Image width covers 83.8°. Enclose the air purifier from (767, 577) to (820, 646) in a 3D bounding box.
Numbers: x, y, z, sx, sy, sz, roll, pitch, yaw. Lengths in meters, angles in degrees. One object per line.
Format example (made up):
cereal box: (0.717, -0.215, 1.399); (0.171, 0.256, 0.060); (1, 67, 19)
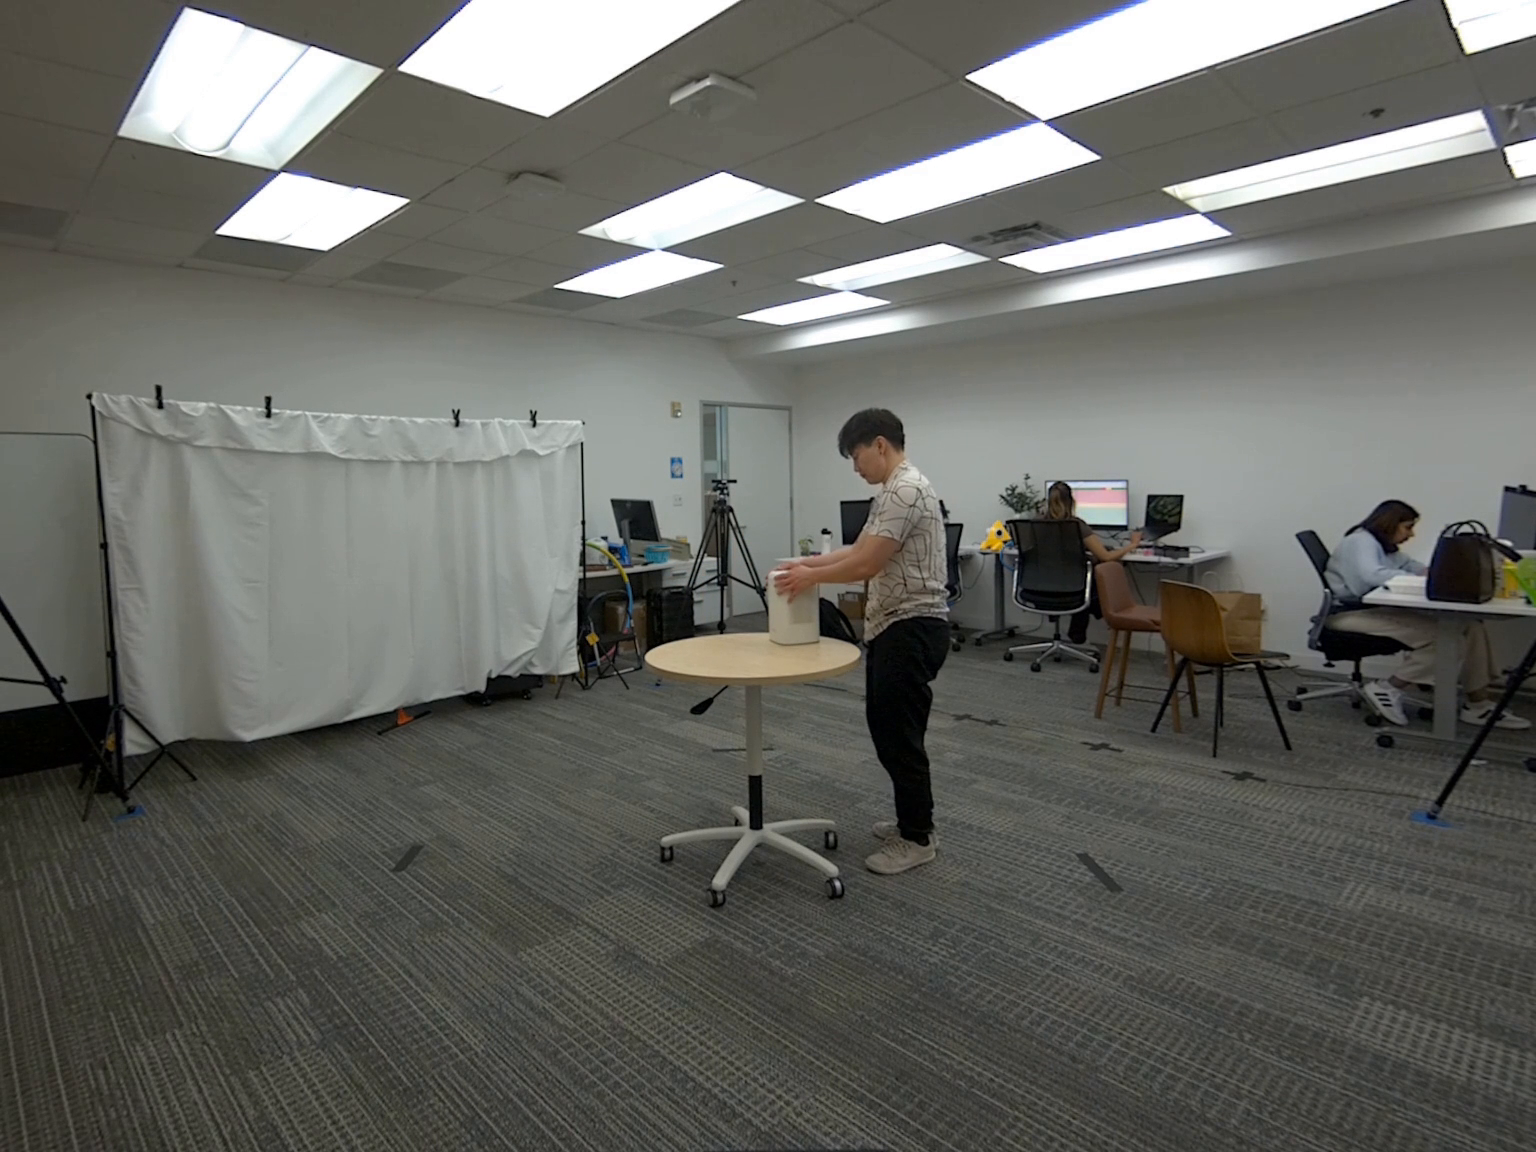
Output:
air purifier: (0.102, 0.116, 3.241); (0.169, 0.265, 0.173); (-2, 2, -14)
